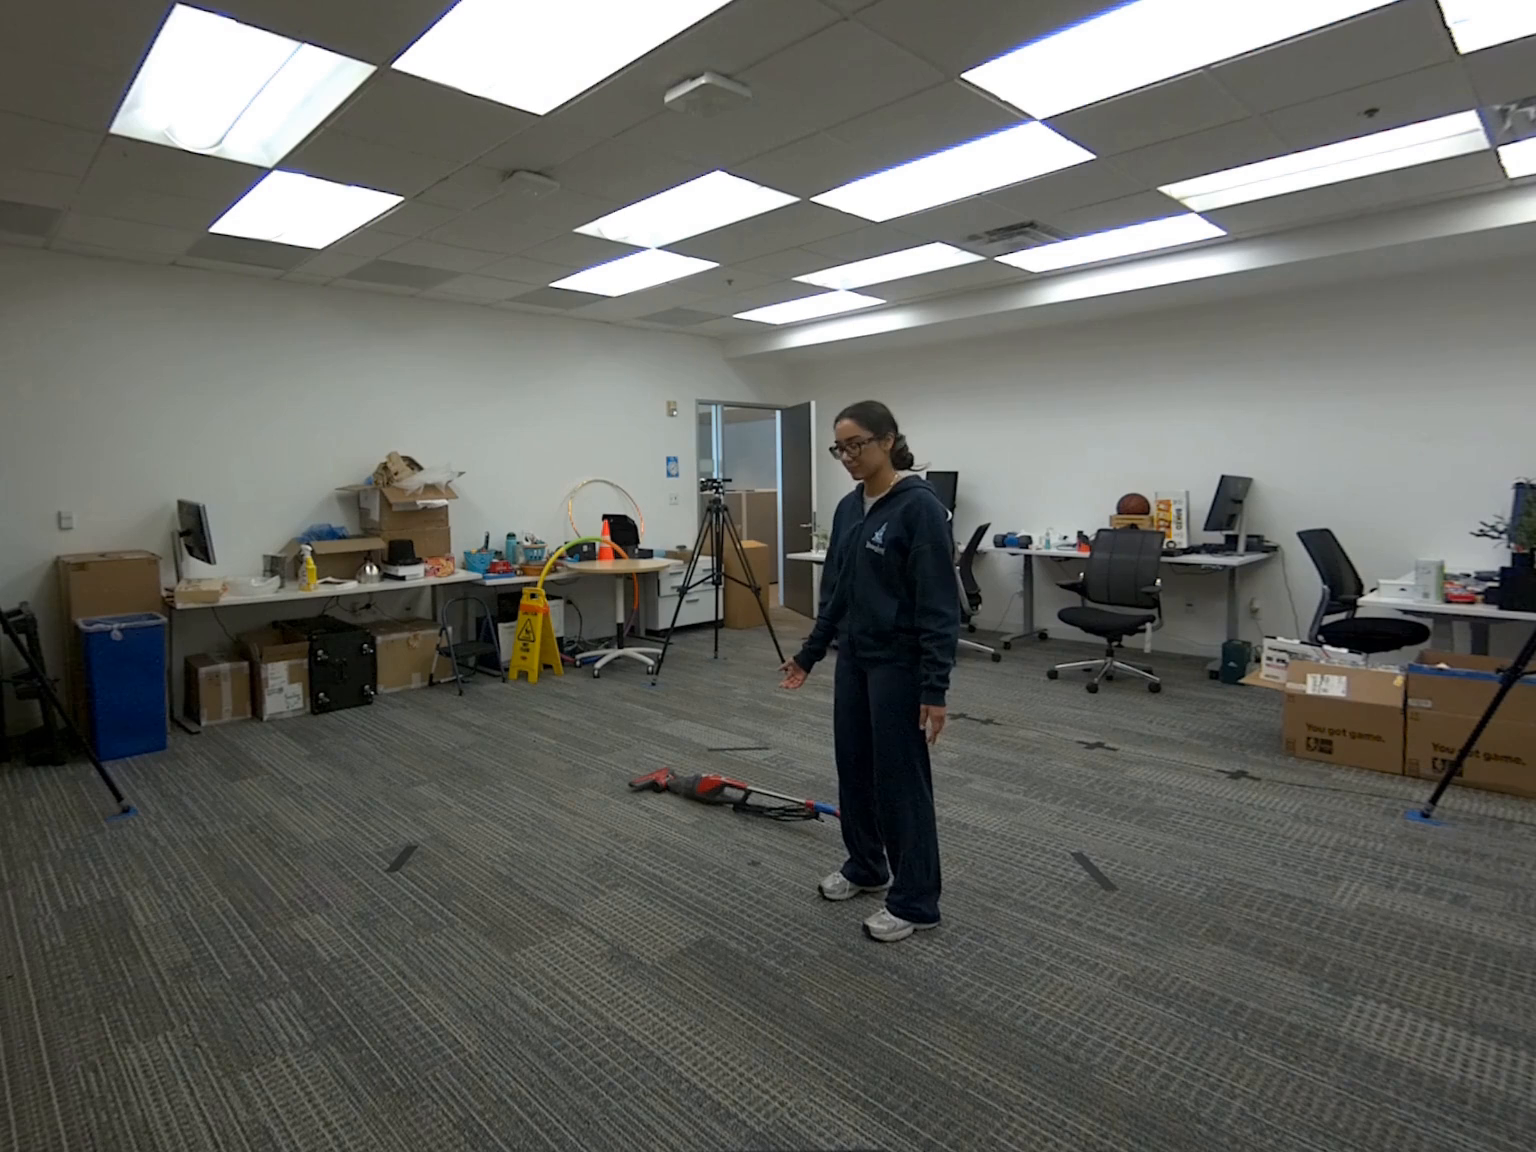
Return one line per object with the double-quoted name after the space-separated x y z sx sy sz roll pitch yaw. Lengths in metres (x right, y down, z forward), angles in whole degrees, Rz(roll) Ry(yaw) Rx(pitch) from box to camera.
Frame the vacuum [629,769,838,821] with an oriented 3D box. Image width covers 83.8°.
-0.088 0.942 3.566 1.080 0.144 0.245 2 3 39 "vacuum"
